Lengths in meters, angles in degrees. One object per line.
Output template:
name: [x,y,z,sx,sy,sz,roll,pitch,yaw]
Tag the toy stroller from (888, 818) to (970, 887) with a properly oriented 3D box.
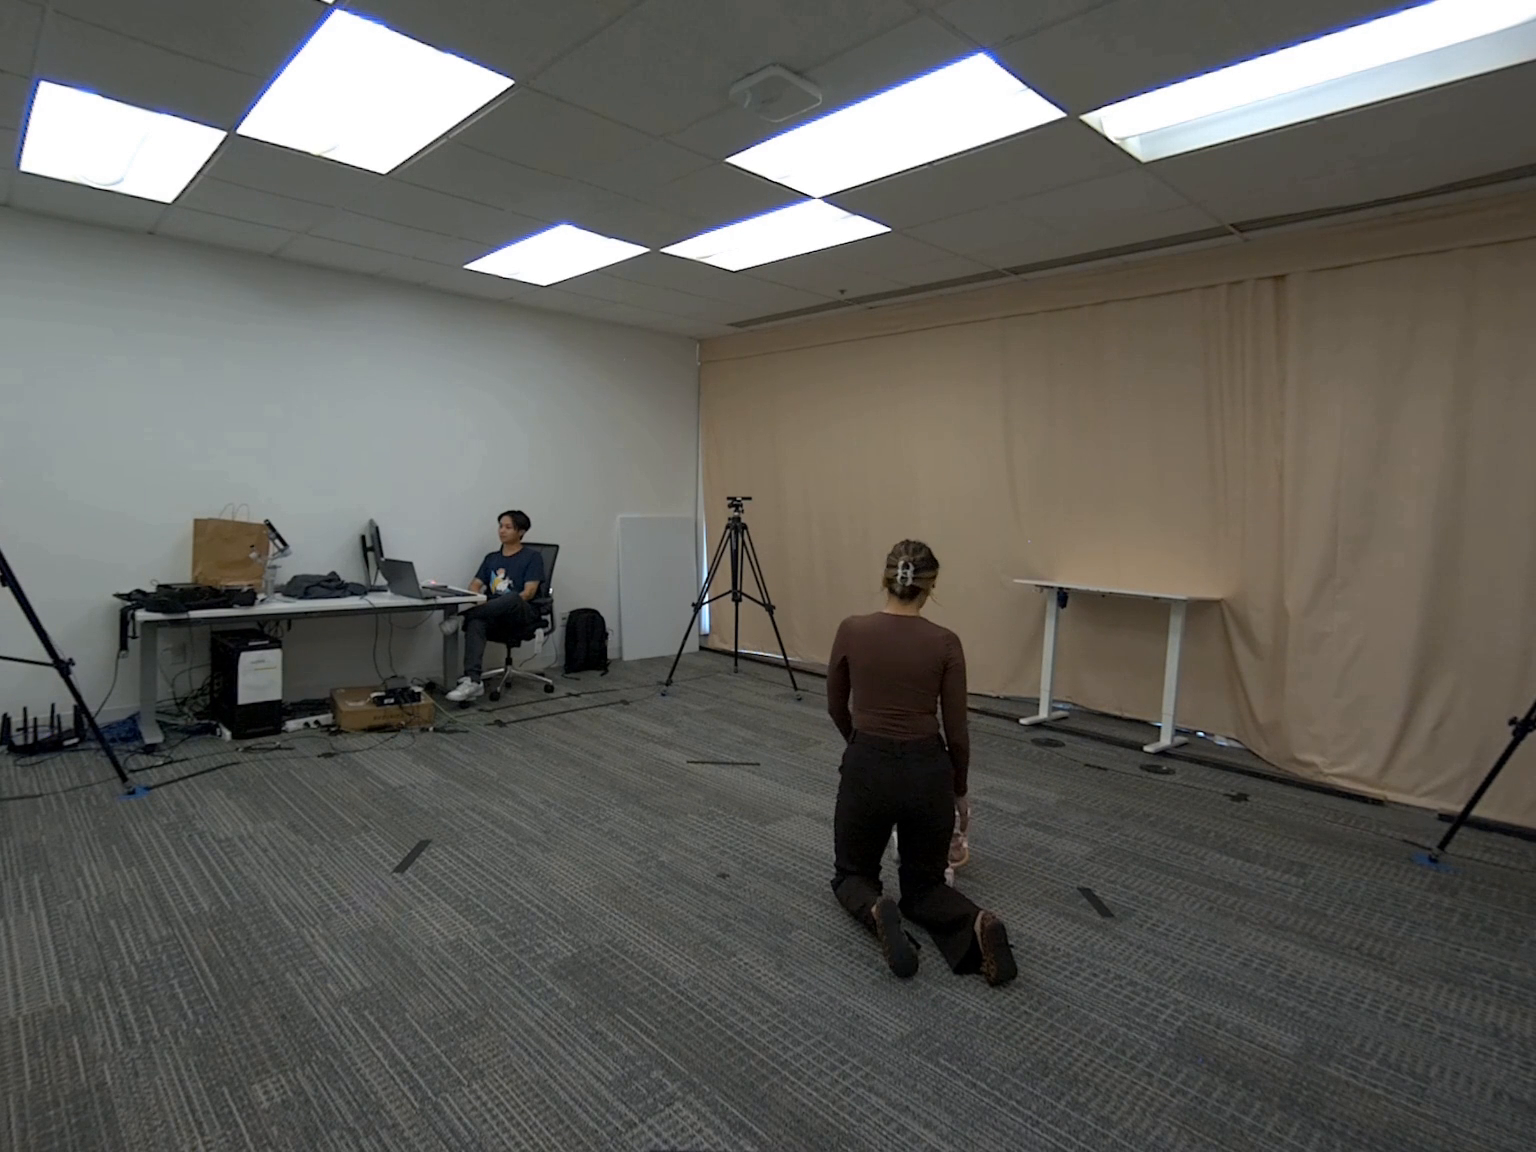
toy stroller: [0.634,0.898,3.216,0.281,0.540,0.338,1,-13,-1]
